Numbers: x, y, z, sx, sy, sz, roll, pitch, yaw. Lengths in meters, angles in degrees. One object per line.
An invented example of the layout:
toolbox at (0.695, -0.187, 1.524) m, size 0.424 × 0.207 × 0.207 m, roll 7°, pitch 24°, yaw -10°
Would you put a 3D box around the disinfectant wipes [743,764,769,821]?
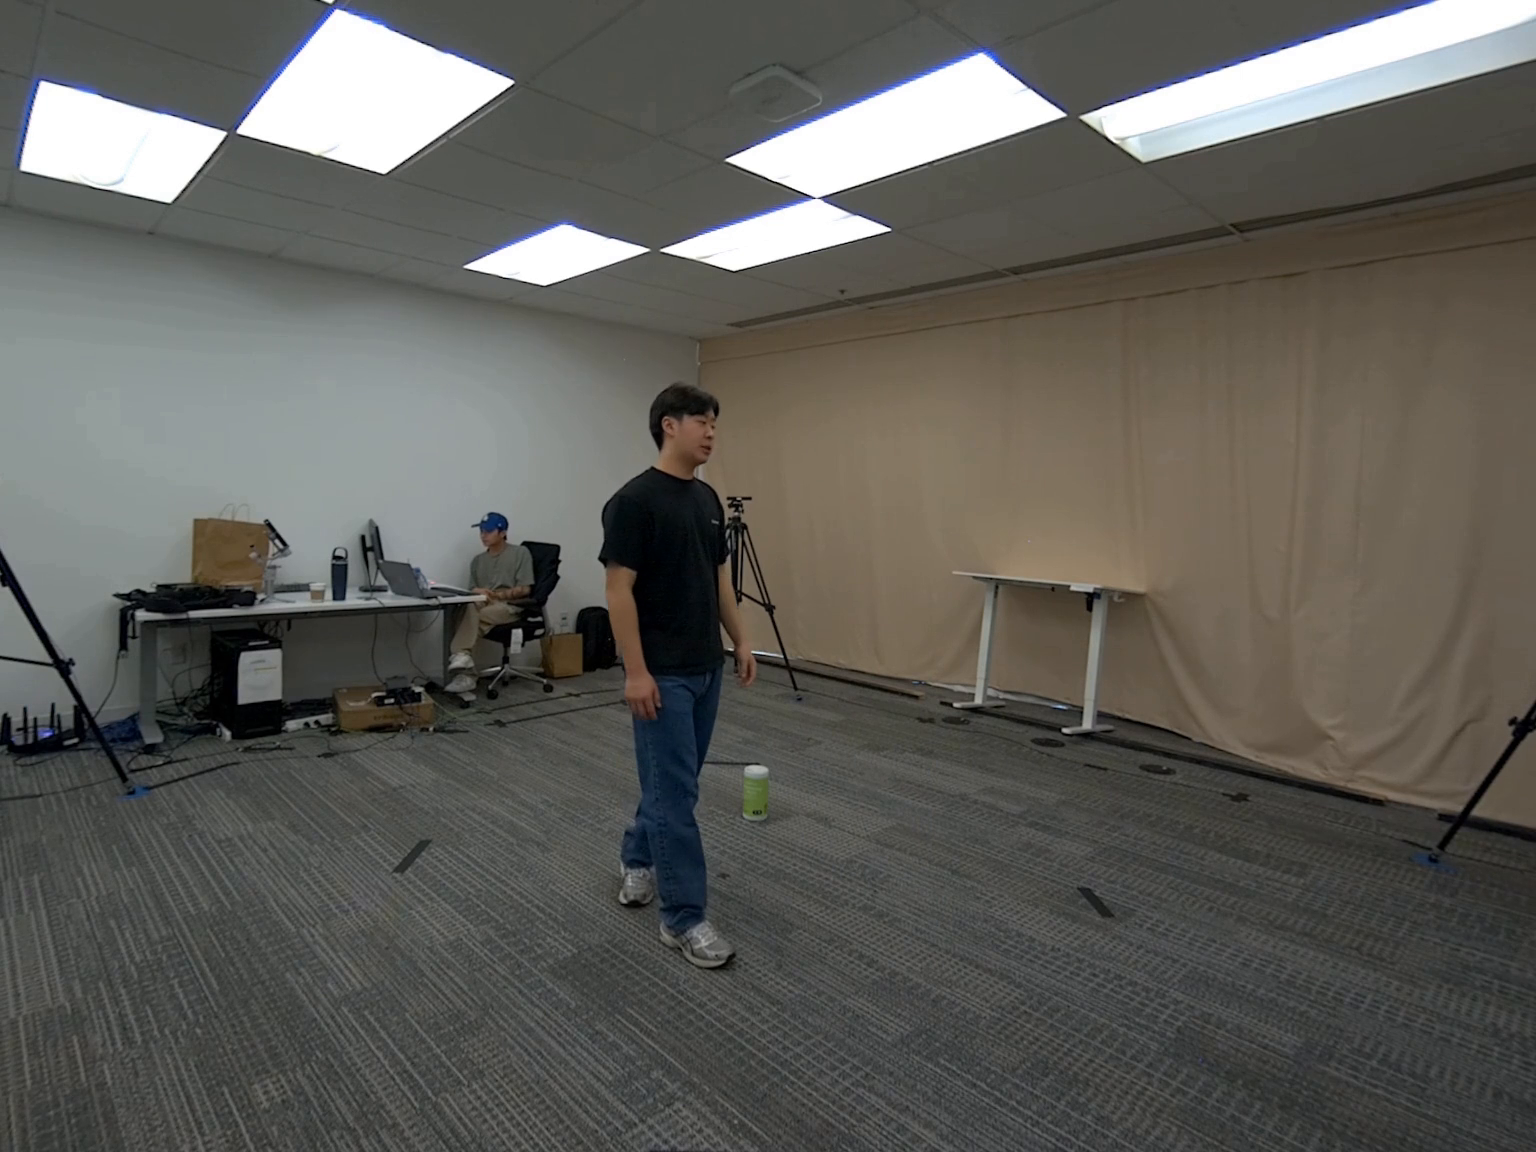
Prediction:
disinfectant wipes at (-0.063, 0.952, 3.701) m, size 0.118 × 0.217 × 0.118 m, roll 2°, pitch 4°, yaw -2°
